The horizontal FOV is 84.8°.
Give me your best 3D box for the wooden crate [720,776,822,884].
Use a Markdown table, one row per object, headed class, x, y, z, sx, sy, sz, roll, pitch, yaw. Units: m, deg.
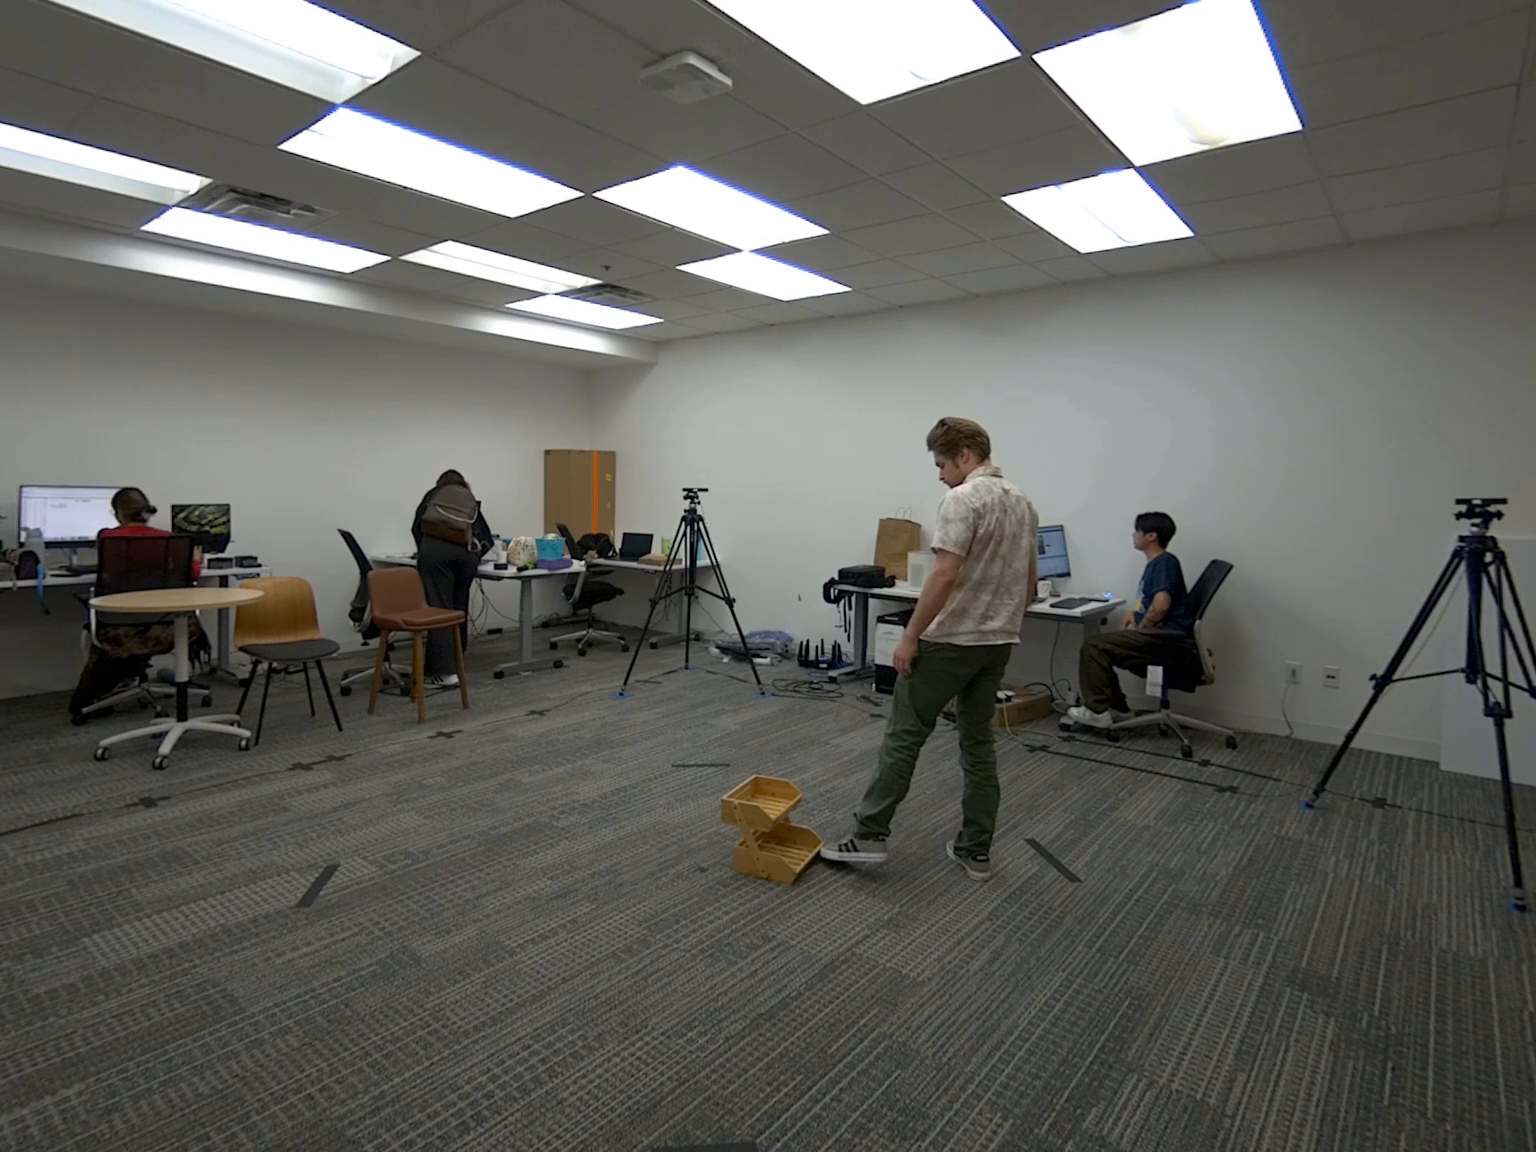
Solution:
| class | x | y | z | sx | sy | sz | roll | pitch | yaw |
| --- | --- | --- | --- | --- | --- | --- | --- | --- | --- |
| wooden crate | 0.024 | 0.934 | 3.194 | 0.310 | 0.272 | 0.317 | 2 | 4 | 24 |
